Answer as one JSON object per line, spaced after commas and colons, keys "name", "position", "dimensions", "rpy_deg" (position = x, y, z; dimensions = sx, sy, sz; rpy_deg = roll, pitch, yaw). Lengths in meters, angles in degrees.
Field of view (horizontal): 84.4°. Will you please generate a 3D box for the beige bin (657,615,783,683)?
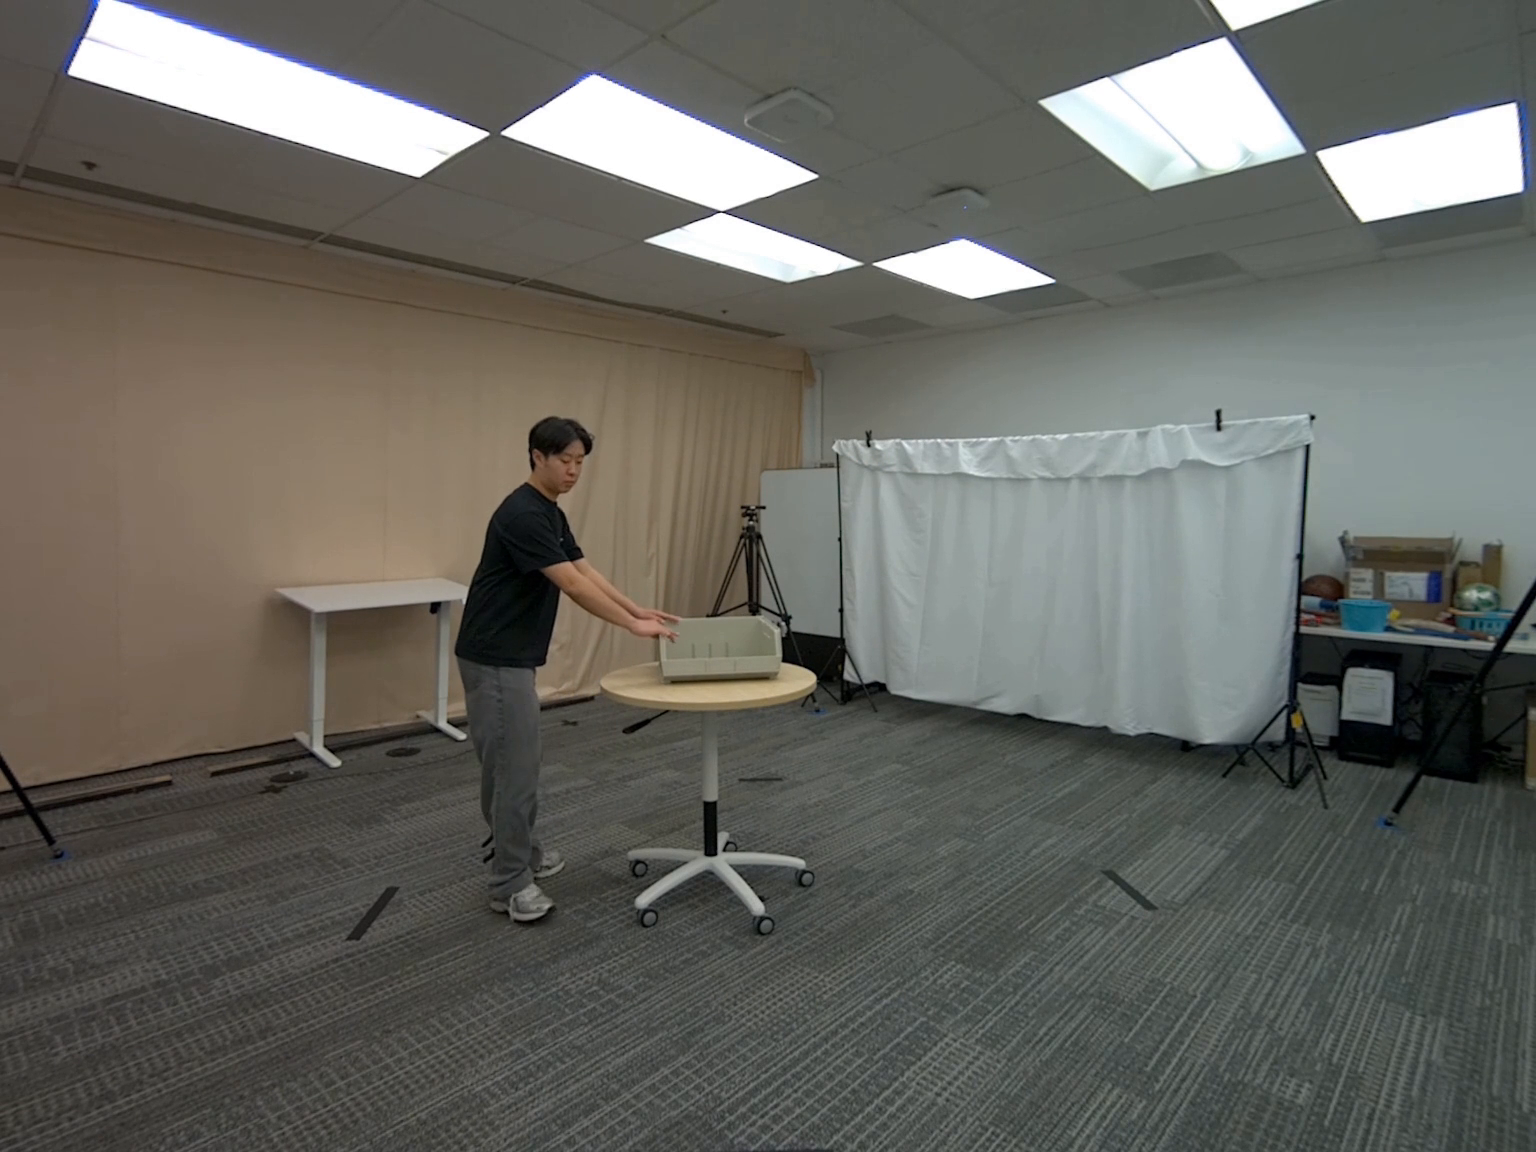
{"name": "beige bin", "position": [-0.182, 0.267, 3.044], "dimensions": [0.419, 0.189, 0.381], "rpy_deg": [-2, 3, -9]}
